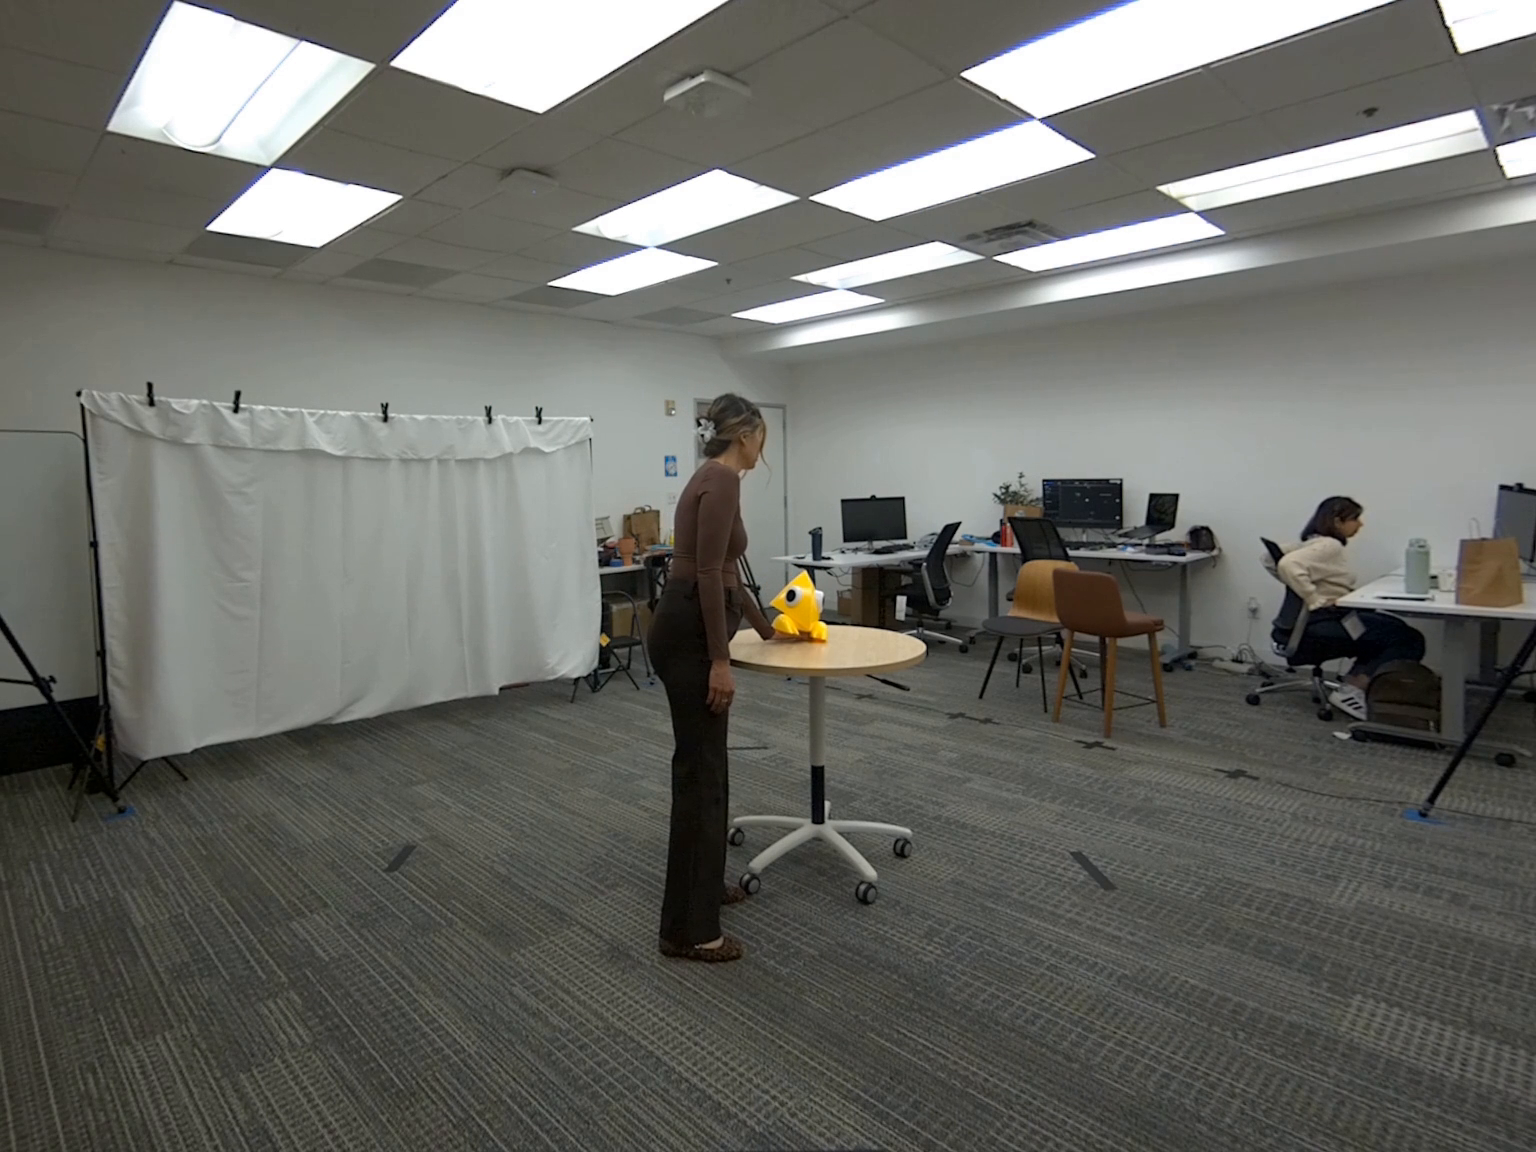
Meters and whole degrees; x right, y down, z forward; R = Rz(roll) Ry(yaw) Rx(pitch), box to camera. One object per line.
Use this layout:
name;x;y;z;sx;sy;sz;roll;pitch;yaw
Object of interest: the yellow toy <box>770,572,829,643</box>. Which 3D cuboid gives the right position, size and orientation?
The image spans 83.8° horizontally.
yellow toy;0.142;0.096;3.149;0.201;0.231;0.196;13;-2;-18
